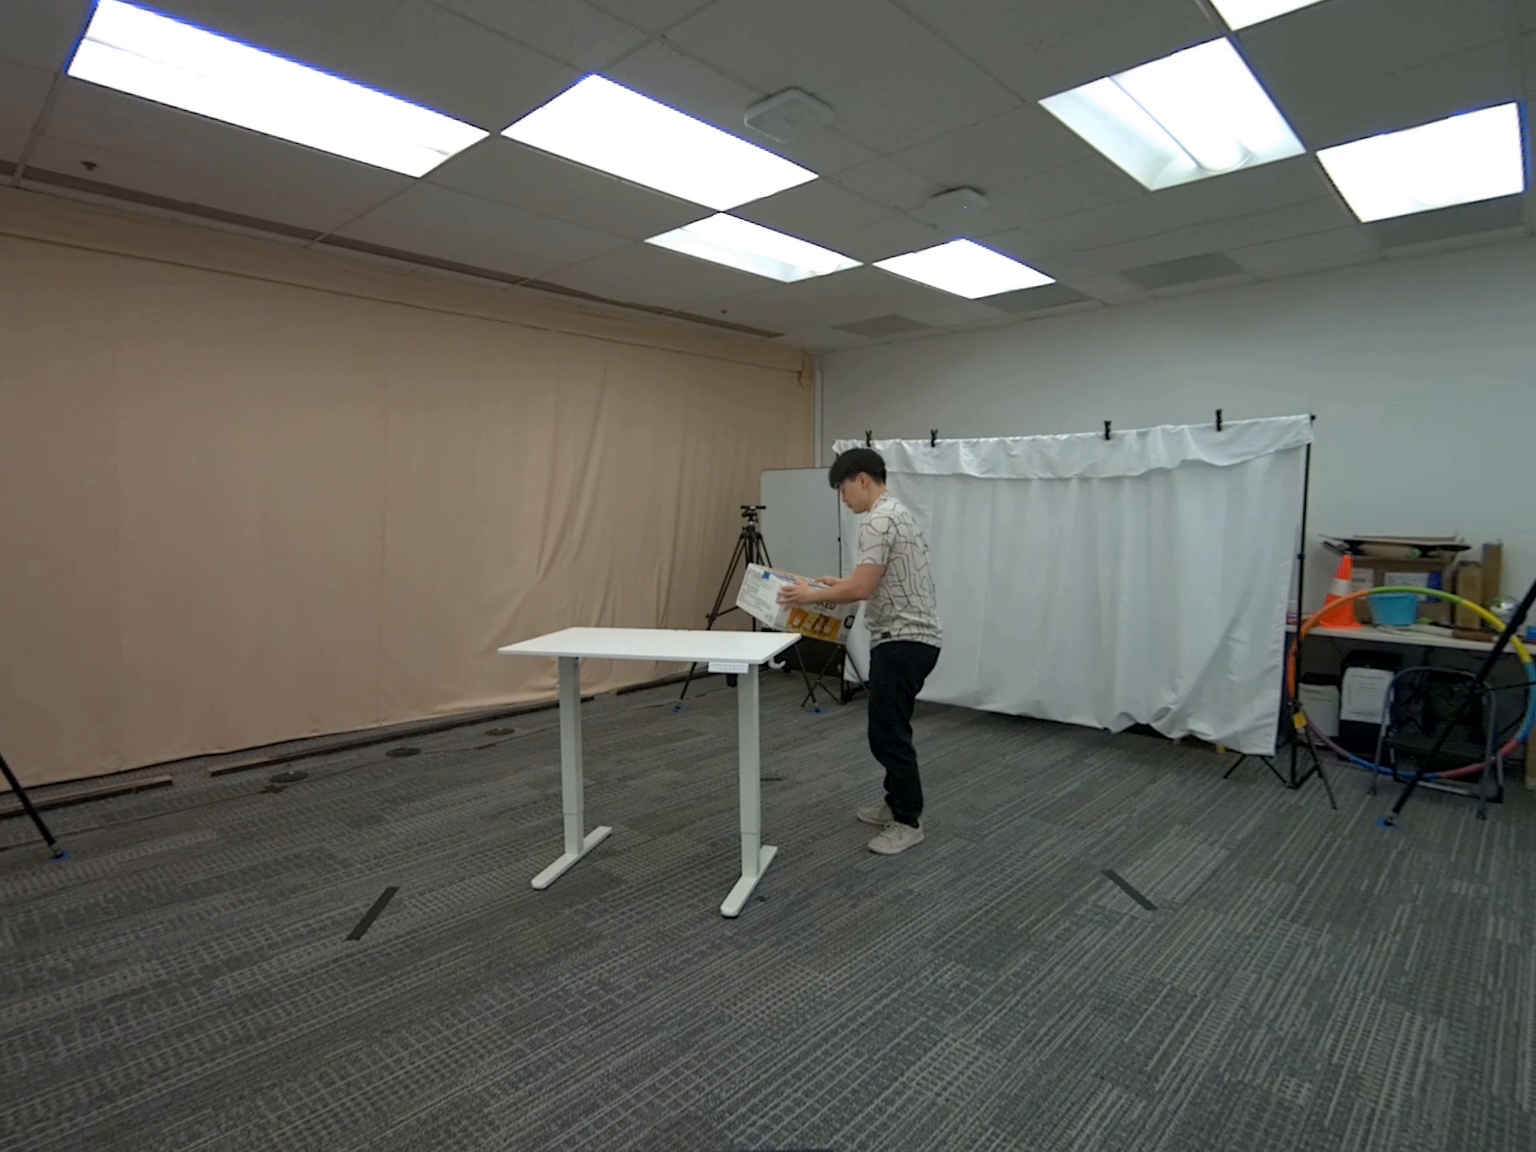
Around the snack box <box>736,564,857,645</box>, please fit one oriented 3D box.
[{"bbox_3d":[0.130,0.121,3.755,0.392,0.205,0.352,14,8,-32],"label":"snack box"}]
